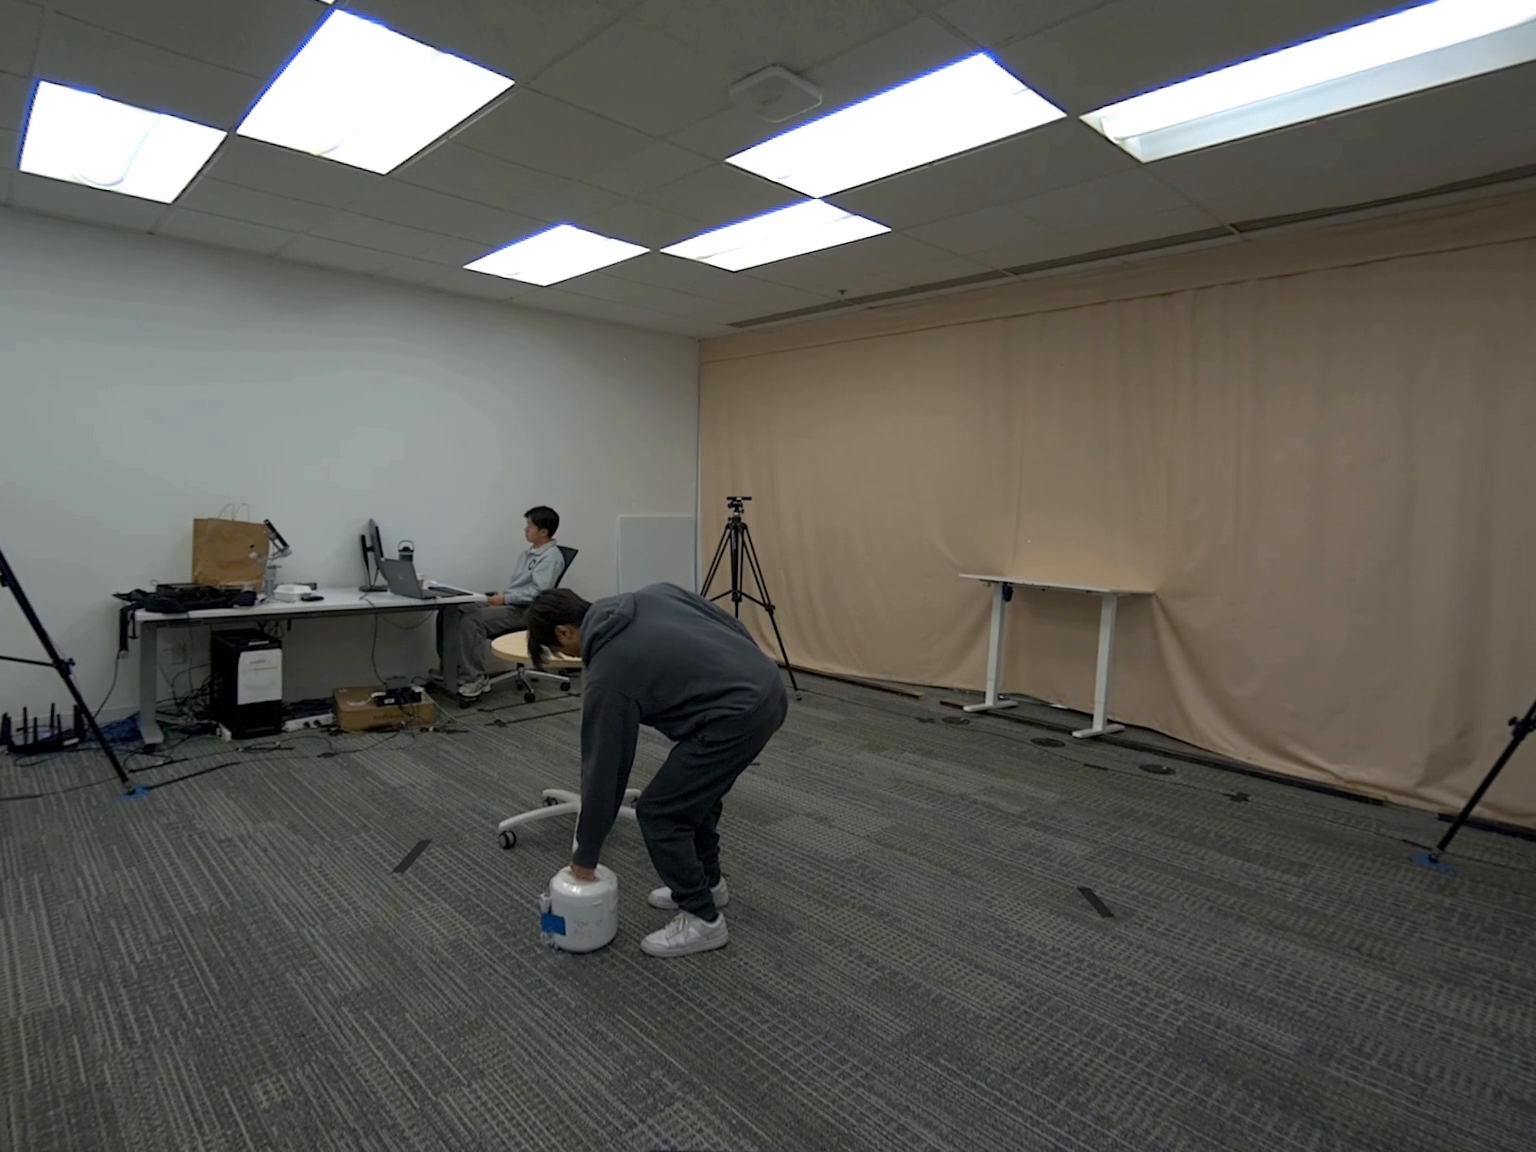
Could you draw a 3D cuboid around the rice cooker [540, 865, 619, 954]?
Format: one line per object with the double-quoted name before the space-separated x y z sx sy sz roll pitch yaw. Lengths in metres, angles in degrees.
"rice cooker" -0.575 1.015 2.634 0.224 0.232 0.214 4 5 20
